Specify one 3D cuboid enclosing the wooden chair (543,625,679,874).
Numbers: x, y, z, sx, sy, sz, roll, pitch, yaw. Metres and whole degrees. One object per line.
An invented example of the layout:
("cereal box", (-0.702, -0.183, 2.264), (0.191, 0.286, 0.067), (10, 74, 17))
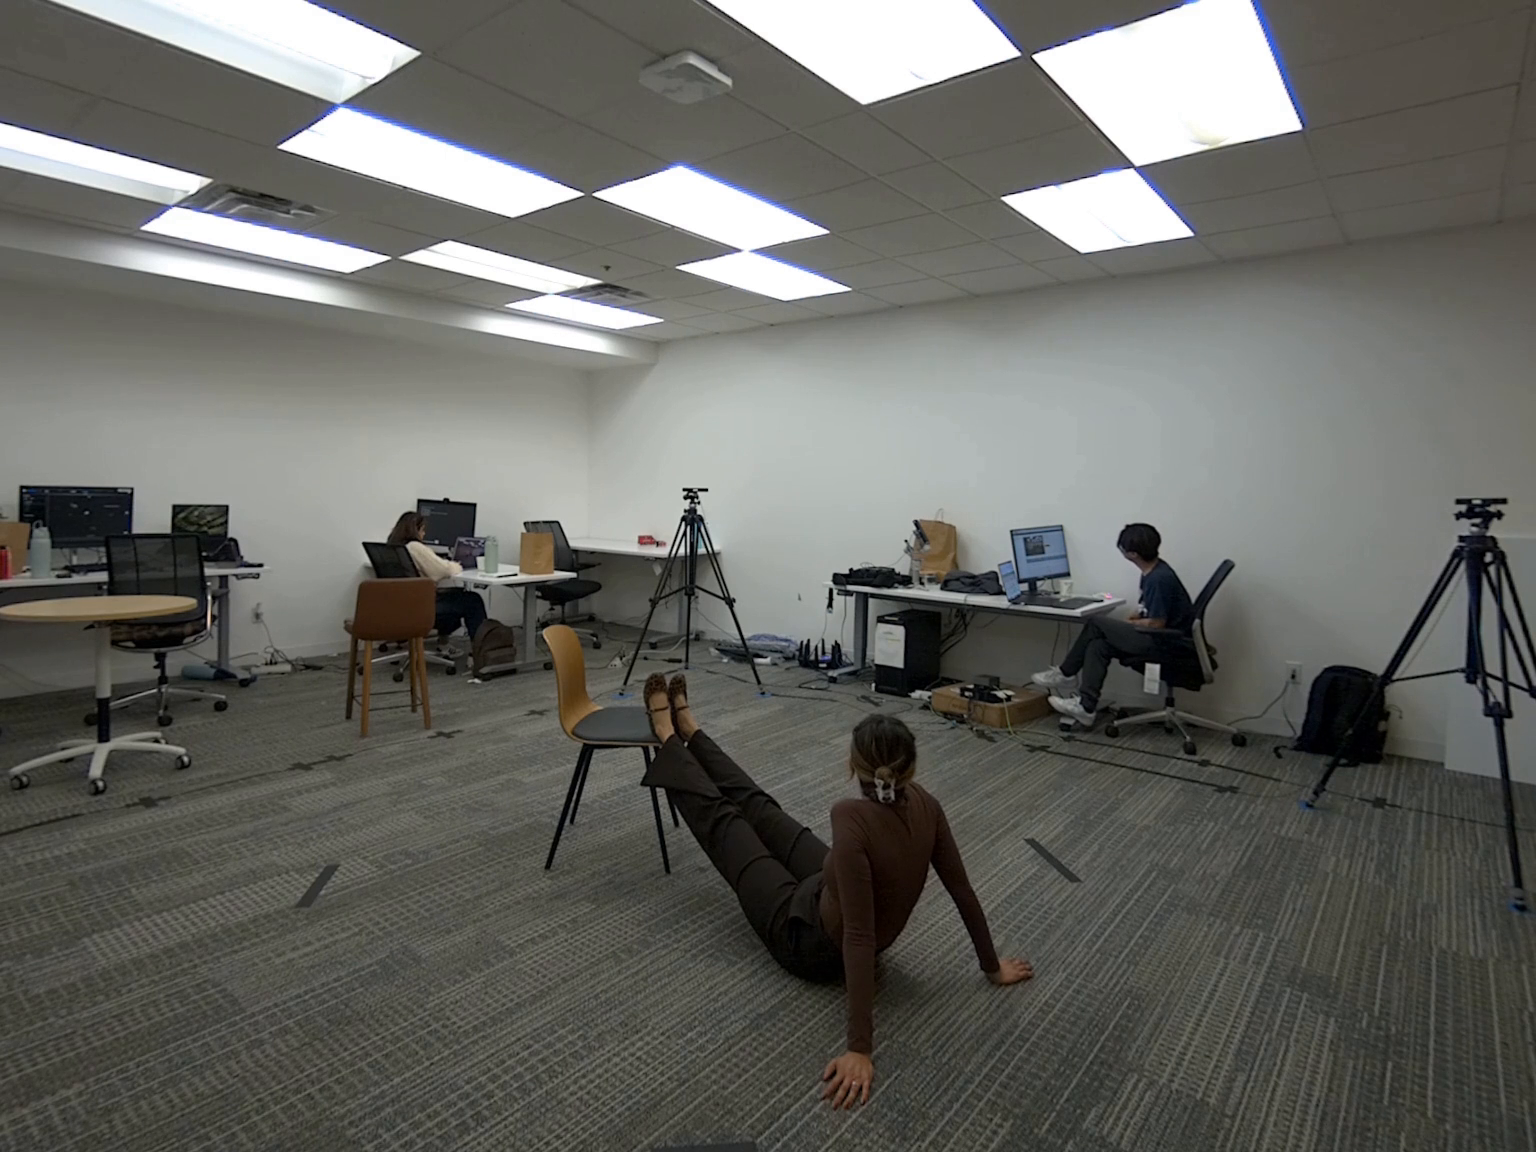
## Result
("wooden chair", (-0.585, 0.621, 3.268), (0.524, 0.875, 0.479), (-3, 3, 1))
